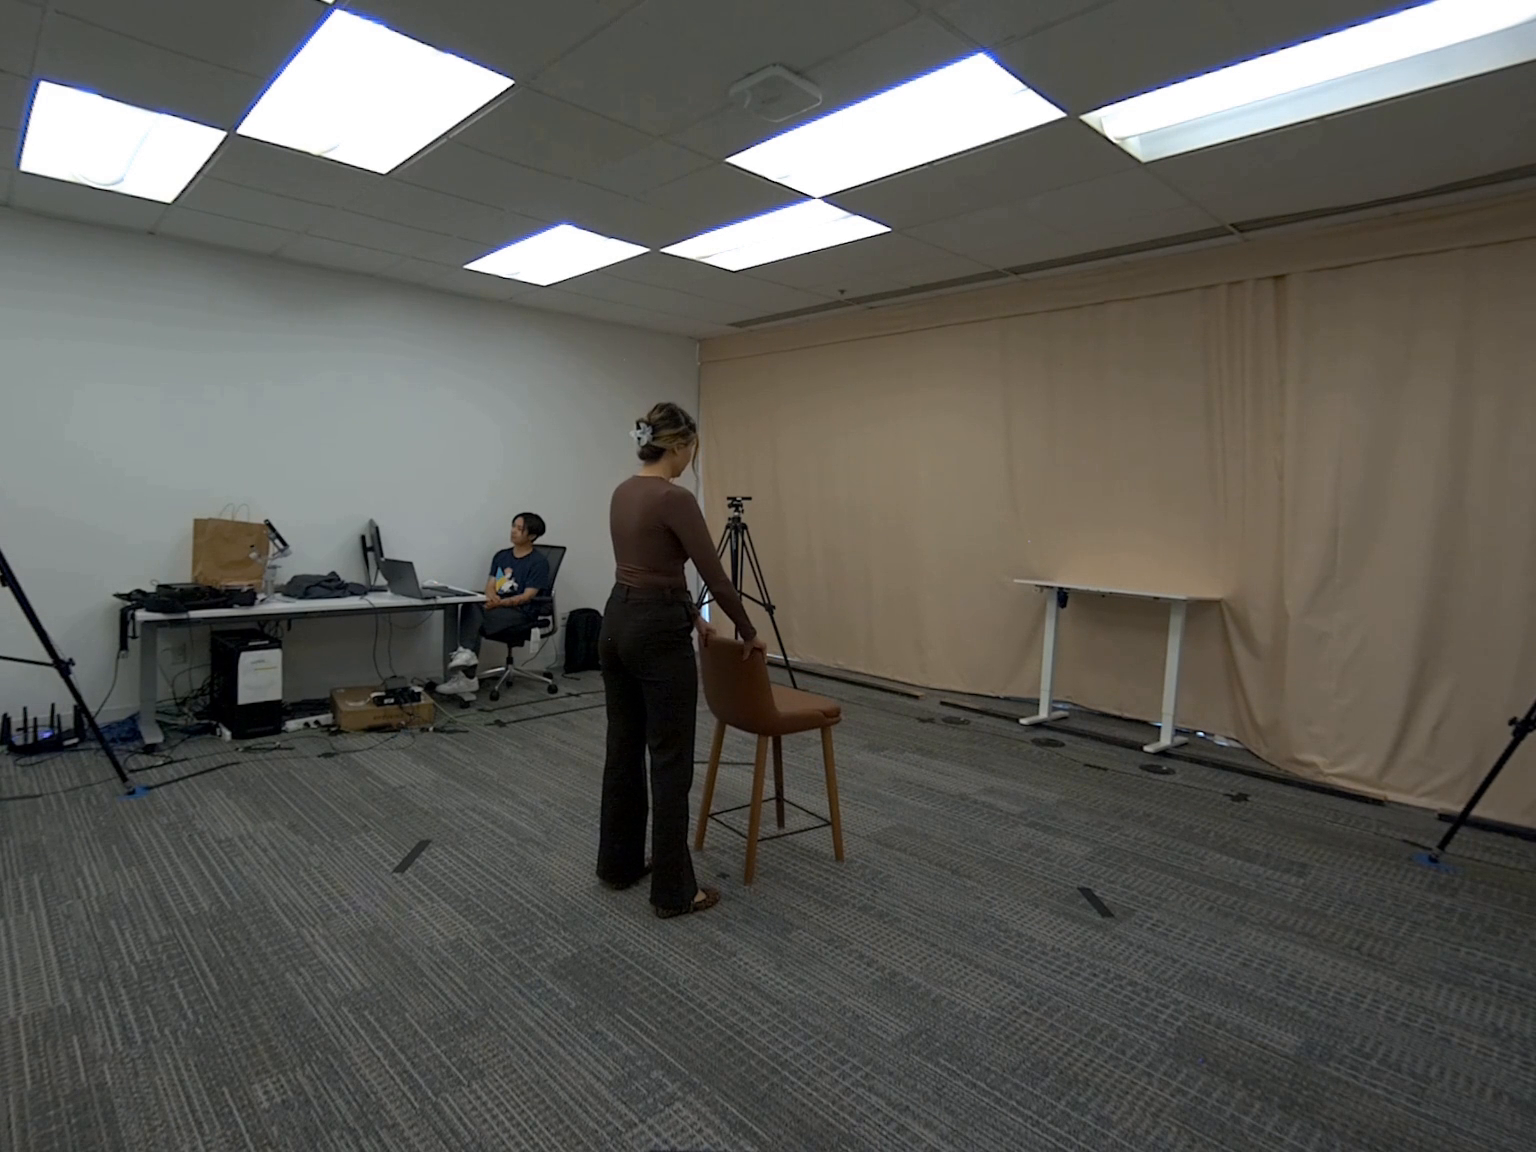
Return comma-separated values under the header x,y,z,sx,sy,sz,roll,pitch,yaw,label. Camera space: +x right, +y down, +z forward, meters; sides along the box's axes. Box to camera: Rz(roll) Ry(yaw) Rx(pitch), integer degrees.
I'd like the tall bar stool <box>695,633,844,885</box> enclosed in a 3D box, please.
x,y,z,sx,sy,sz,roll,pitch,yaw,label
-0.010,0.655,3.279,0.458,0.887,0.467,-3,5,-34,tall bar stool
